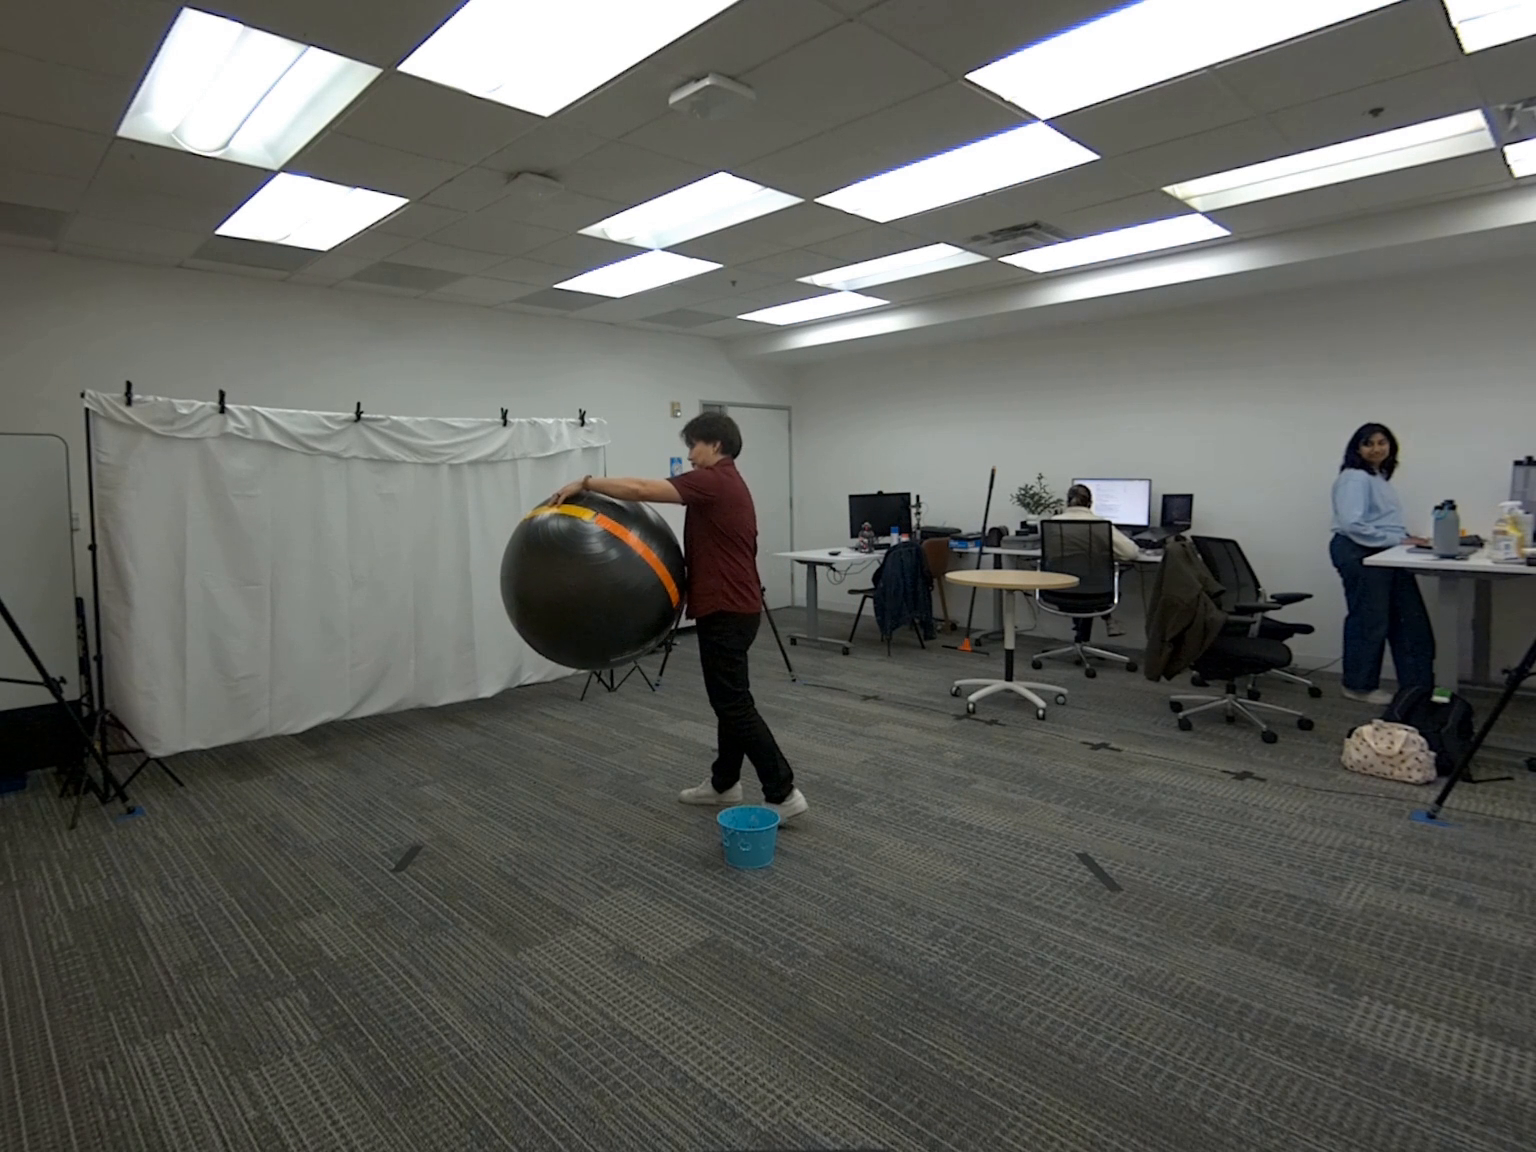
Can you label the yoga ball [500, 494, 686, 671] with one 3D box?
[{"bbox_3d":[-0.733,0.011,3.555,0.757,0.755,0.762,-1,5,-2],"label":"yoga ball"}]
